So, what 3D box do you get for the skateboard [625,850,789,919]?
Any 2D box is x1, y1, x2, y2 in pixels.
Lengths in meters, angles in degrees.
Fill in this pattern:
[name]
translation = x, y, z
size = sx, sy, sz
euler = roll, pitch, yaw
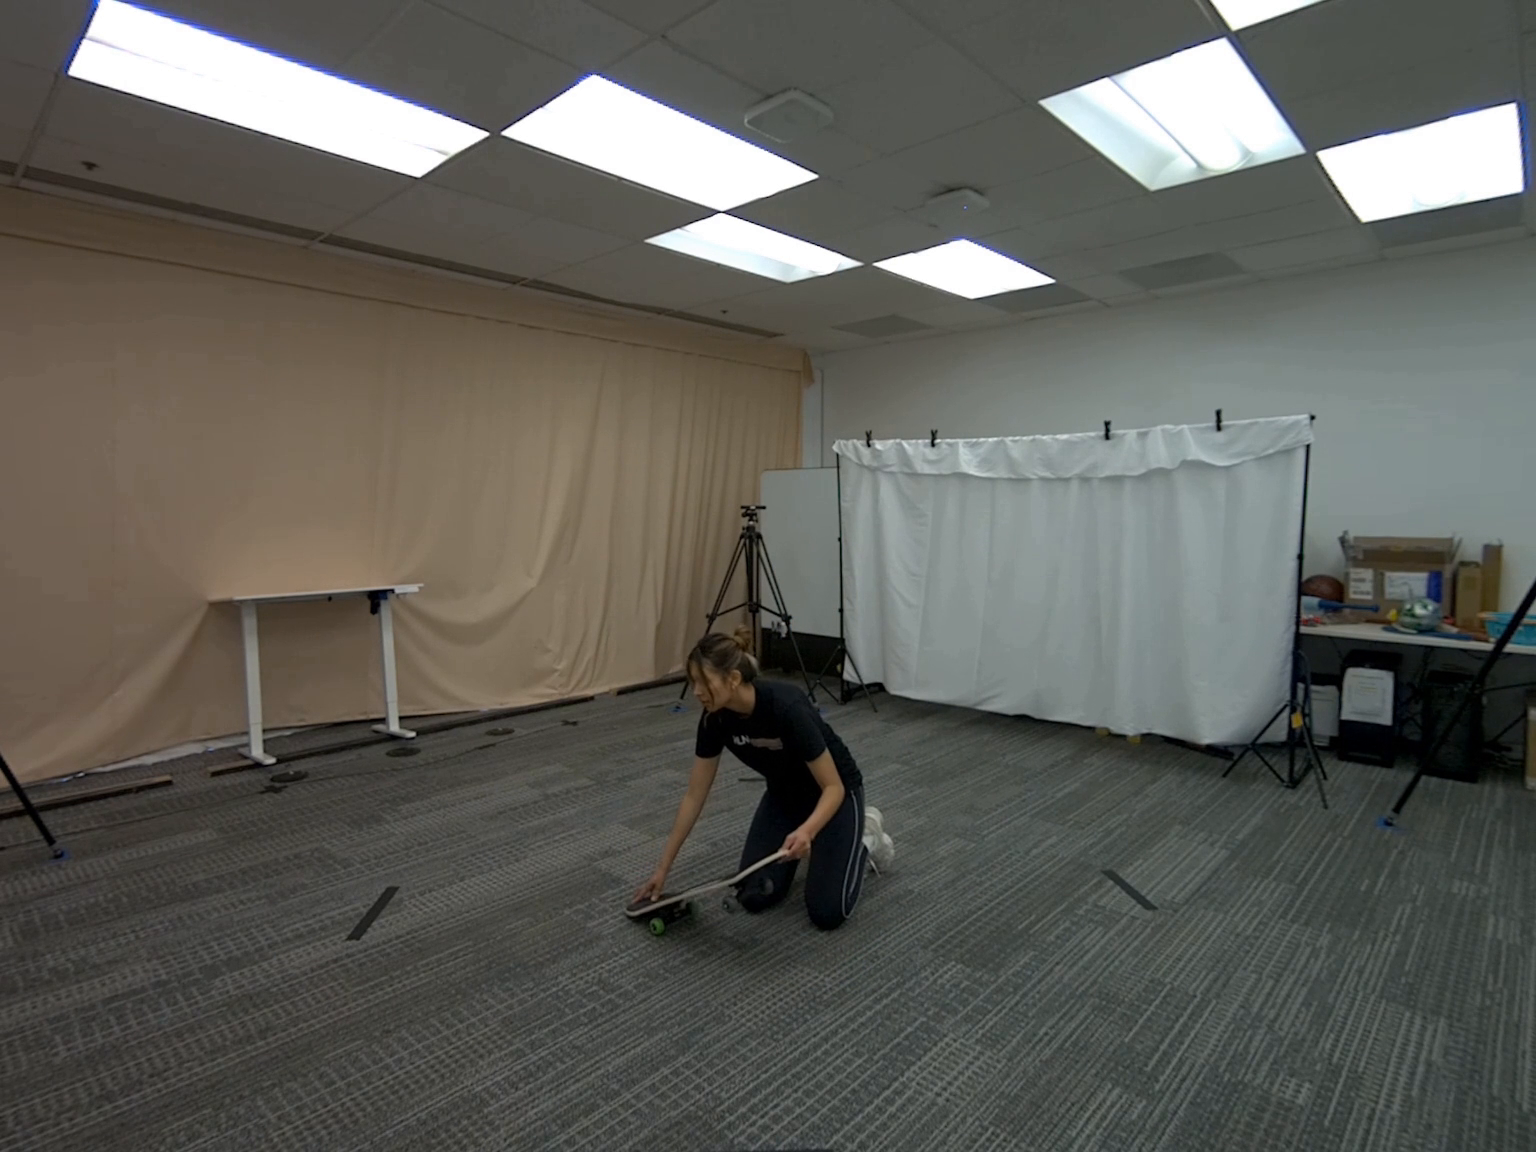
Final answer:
[skateboard]
translation = -0.187, 1.021, 2.667
size = 0.187, 0.112, 0.797
euler = -5, -22, -45
